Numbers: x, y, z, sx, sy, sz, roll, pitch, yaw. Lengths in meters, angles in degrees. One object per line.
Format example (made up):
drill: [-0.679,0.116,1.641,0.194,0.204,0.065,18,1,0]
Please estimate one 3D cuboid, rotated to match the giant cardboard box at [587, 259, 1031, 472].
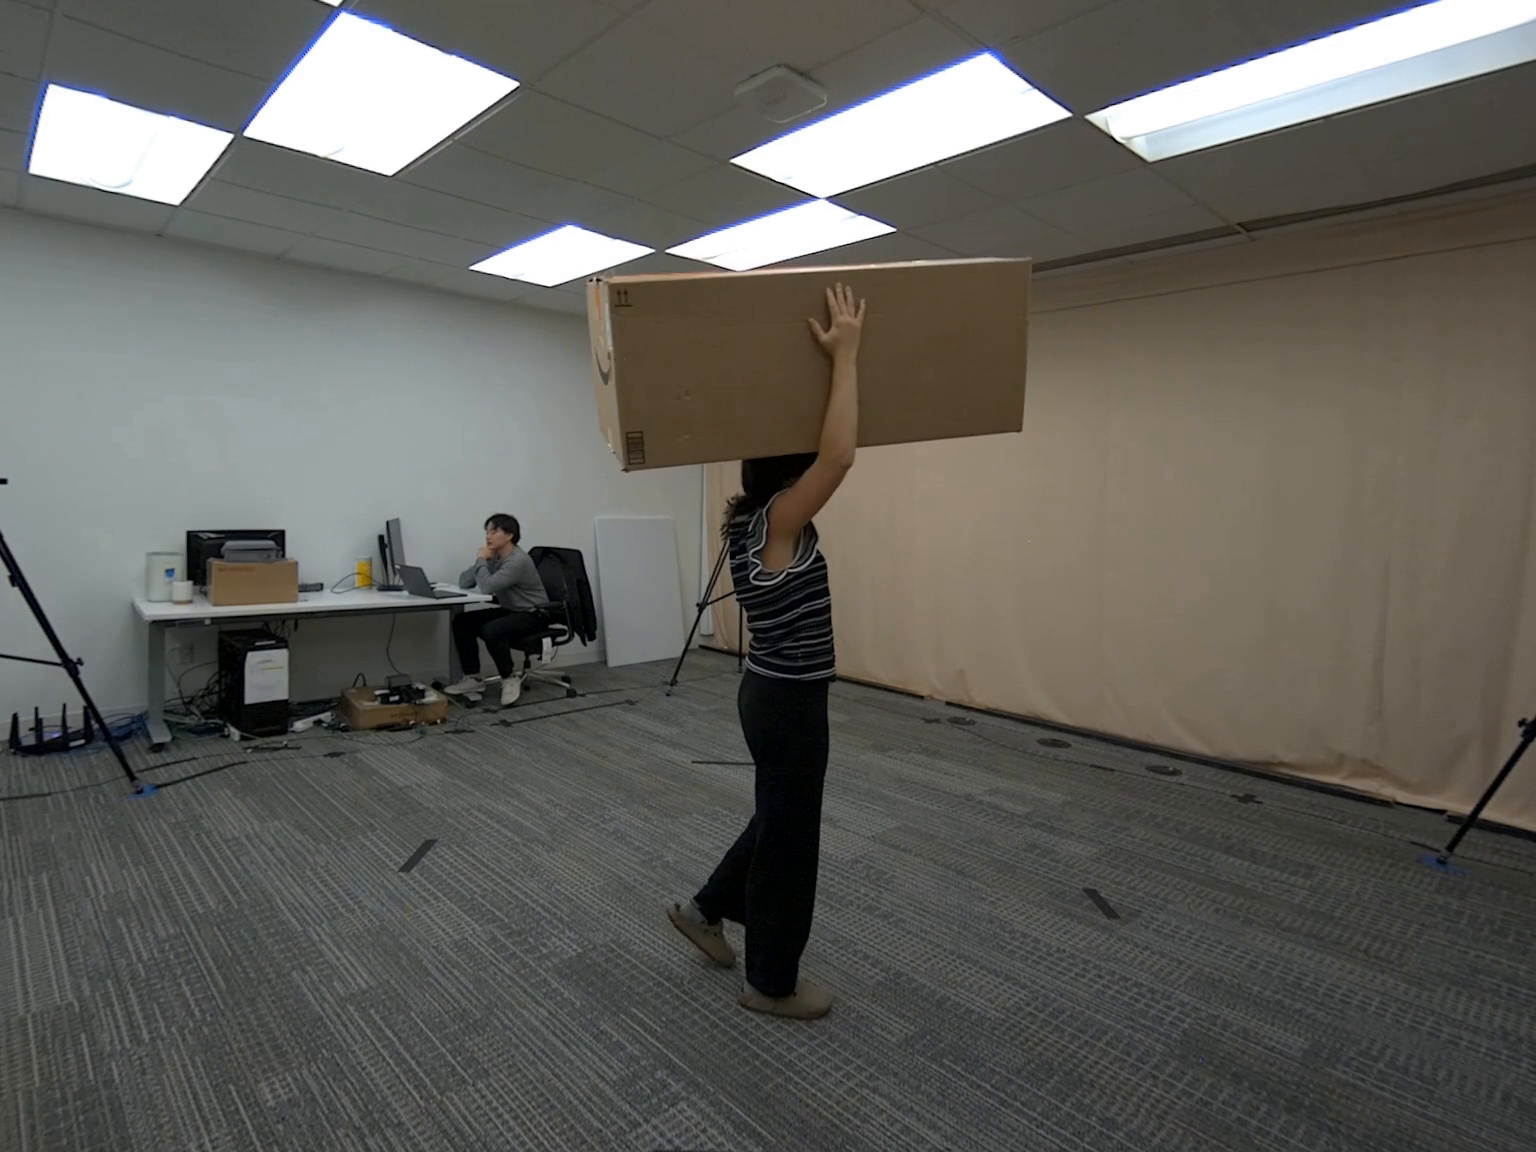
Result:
giant cardboard box: [0.067,-0.591,2.239,1.017,0.420,0.591,-7,20,-13]
